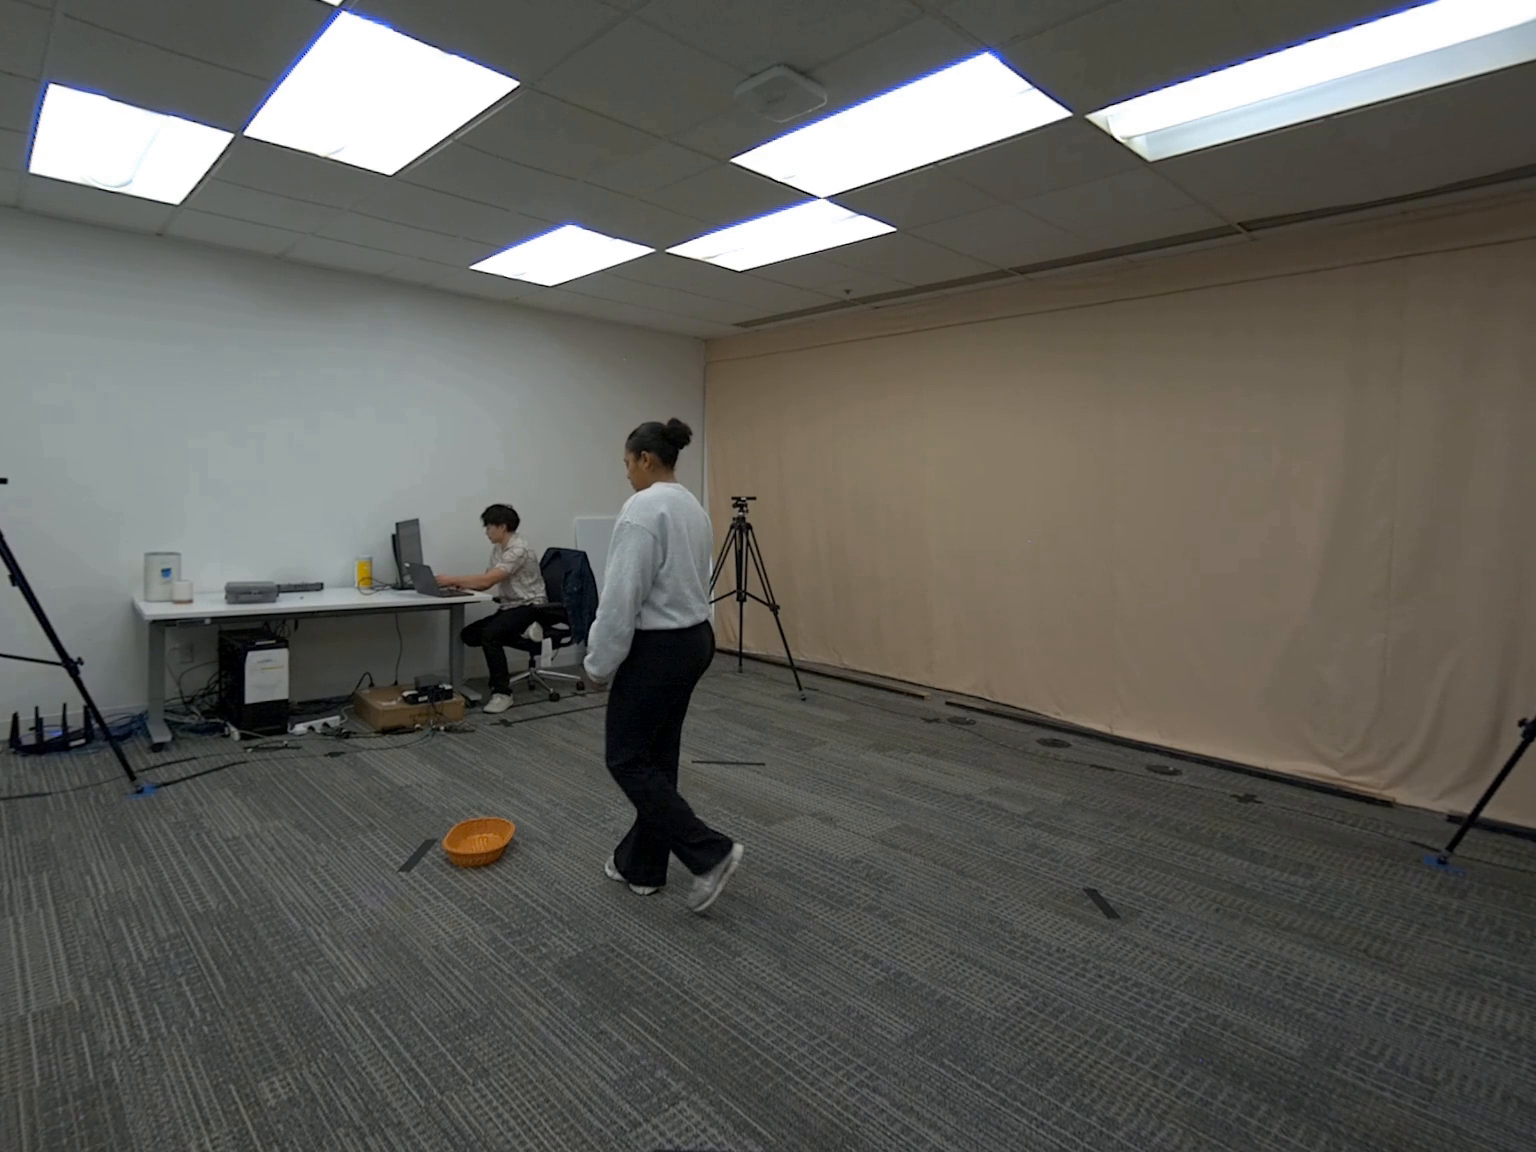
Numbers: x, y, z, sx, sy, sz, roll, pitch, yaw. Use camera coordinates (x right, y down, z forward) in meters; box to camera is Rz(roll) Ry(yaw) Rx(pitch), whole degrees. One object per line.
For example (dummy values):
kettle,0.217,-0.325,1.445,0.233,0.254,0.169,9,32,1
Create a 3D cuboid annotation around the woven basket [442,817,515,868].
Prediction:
woven basket,-1.129,1.034,3.264,0.252,0.073,0.352,2,6,-4
